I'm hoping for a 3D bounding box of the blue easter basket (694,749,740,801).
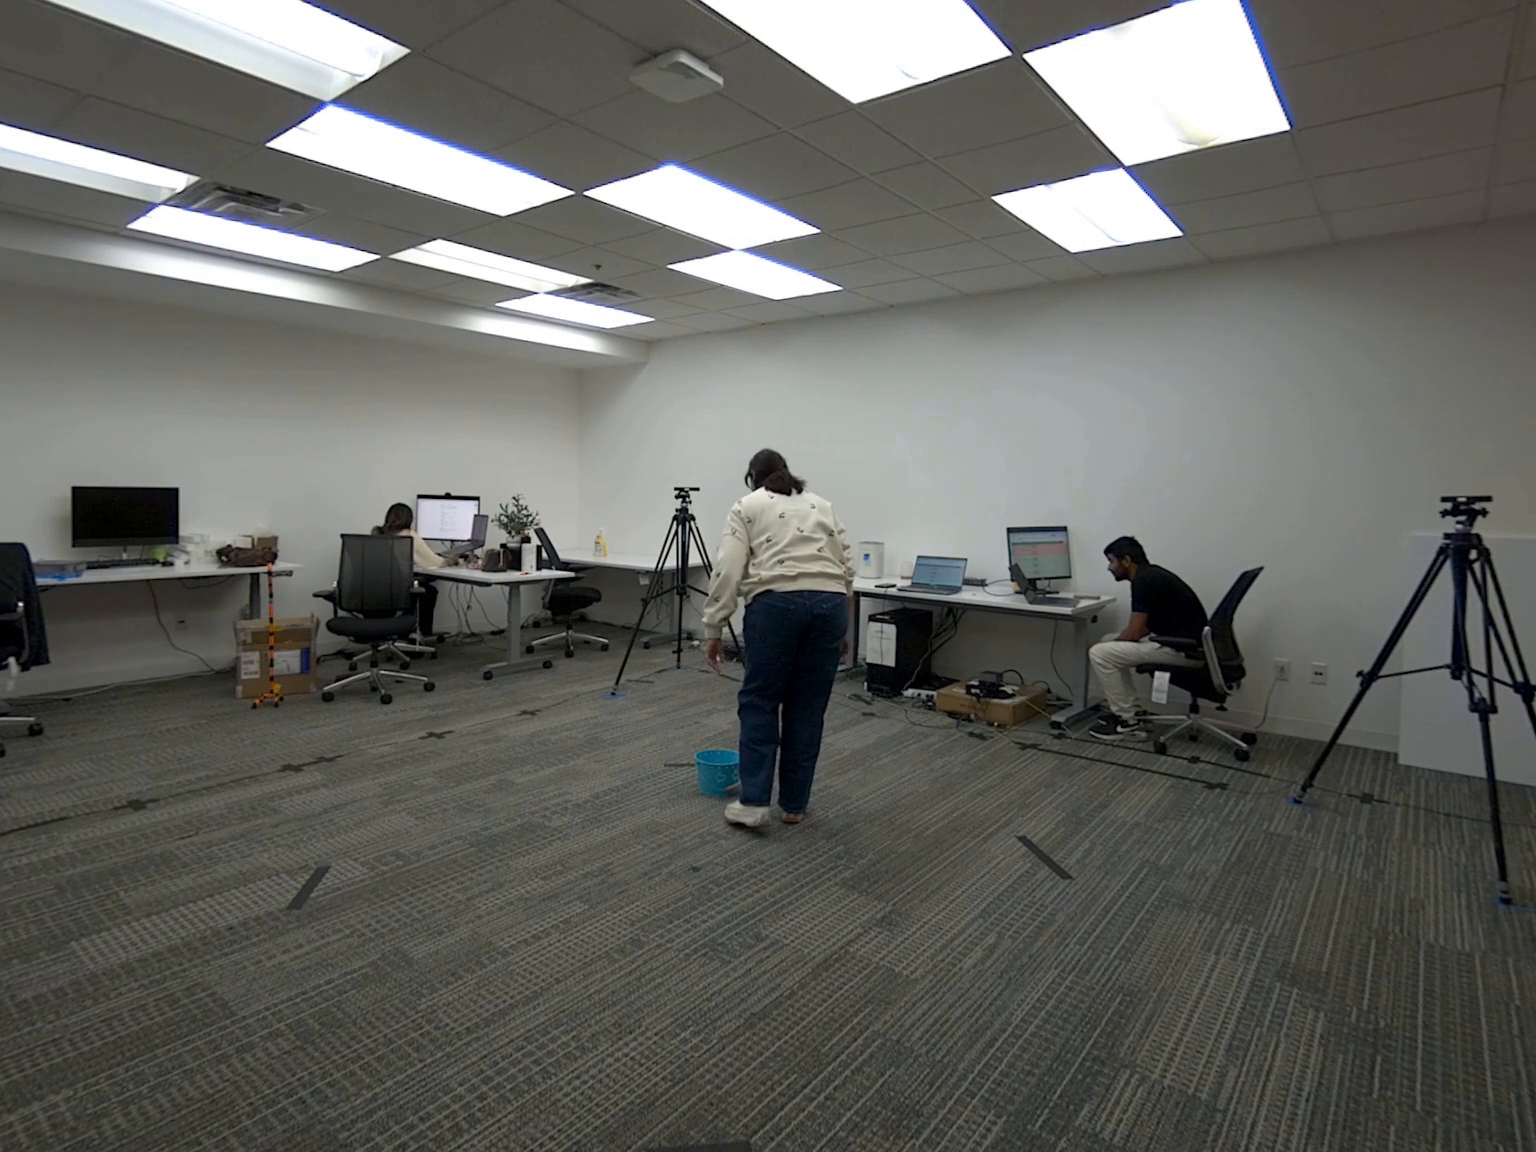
[{"bbox_3d":[-0.240,0.903,3.934,0.243,0.155,0.245,0,5,-2],"label":"blue easter basket"}]
